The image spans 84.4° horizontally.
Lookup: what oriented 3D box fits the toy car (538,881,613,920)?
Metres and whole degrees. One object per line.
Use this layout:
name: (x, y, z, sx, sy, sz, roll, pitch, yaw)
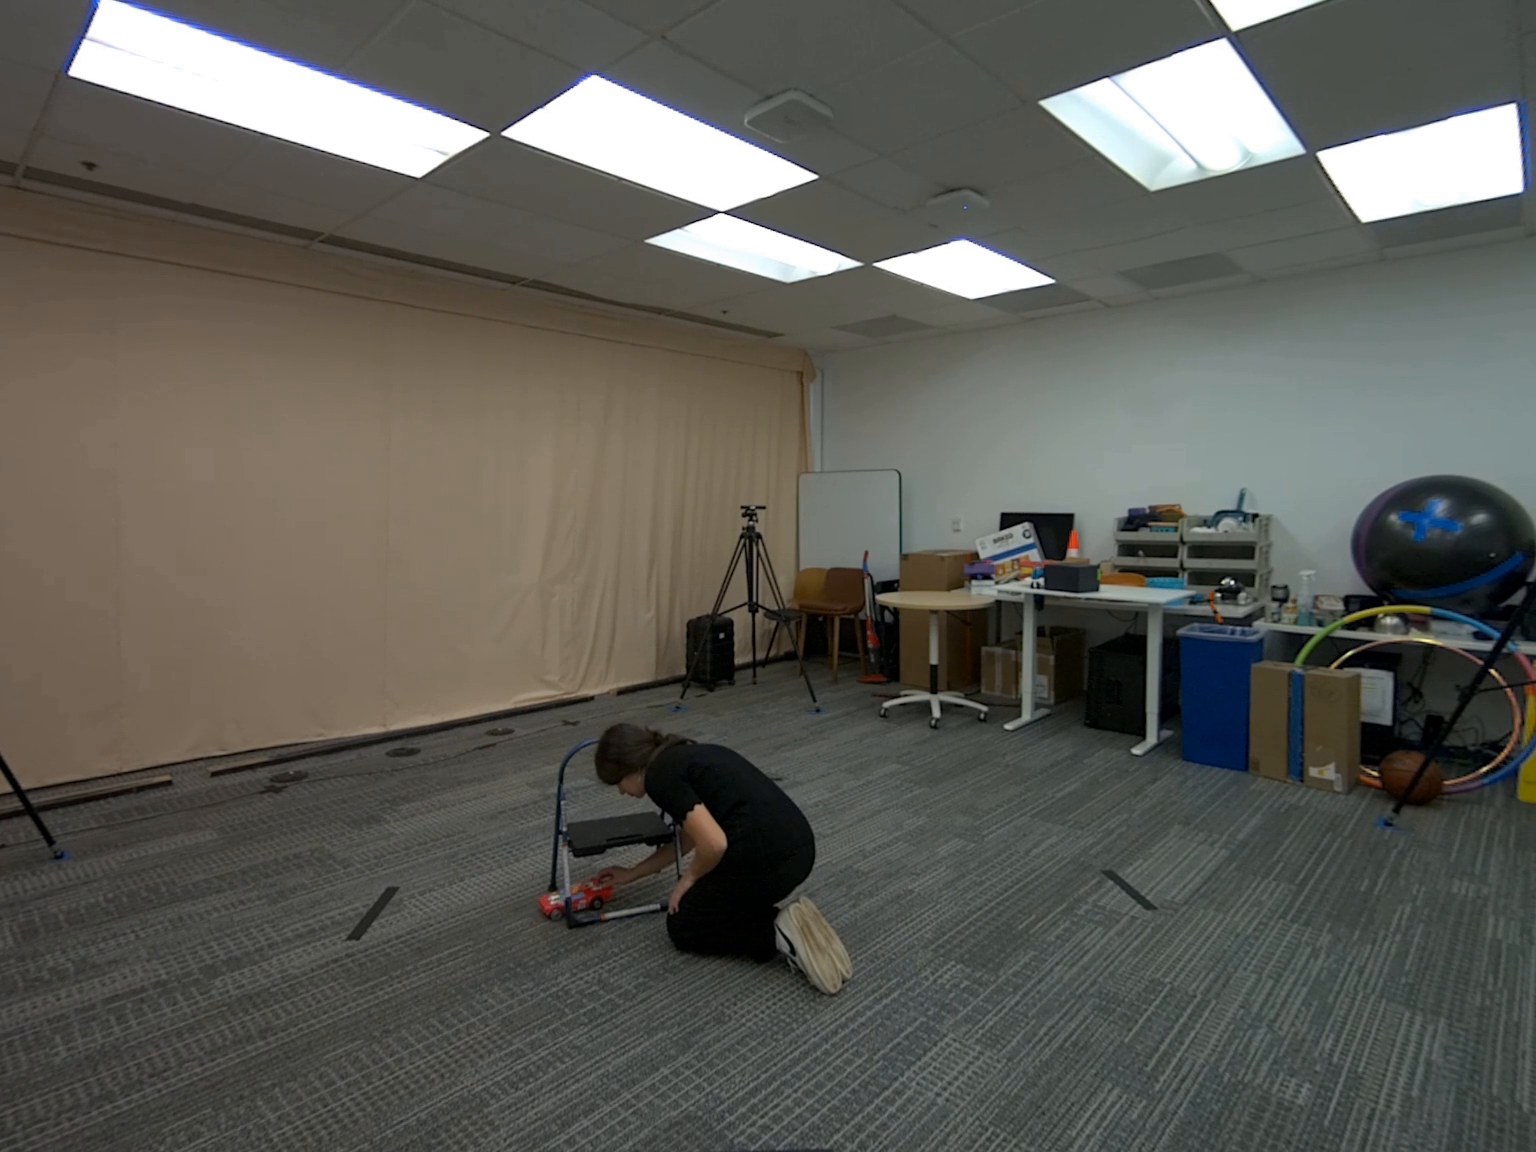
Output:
toy car: (-0.670, 1.128, 2.923, 0.249, 0.083, 0.134, -14, 9, -27)
